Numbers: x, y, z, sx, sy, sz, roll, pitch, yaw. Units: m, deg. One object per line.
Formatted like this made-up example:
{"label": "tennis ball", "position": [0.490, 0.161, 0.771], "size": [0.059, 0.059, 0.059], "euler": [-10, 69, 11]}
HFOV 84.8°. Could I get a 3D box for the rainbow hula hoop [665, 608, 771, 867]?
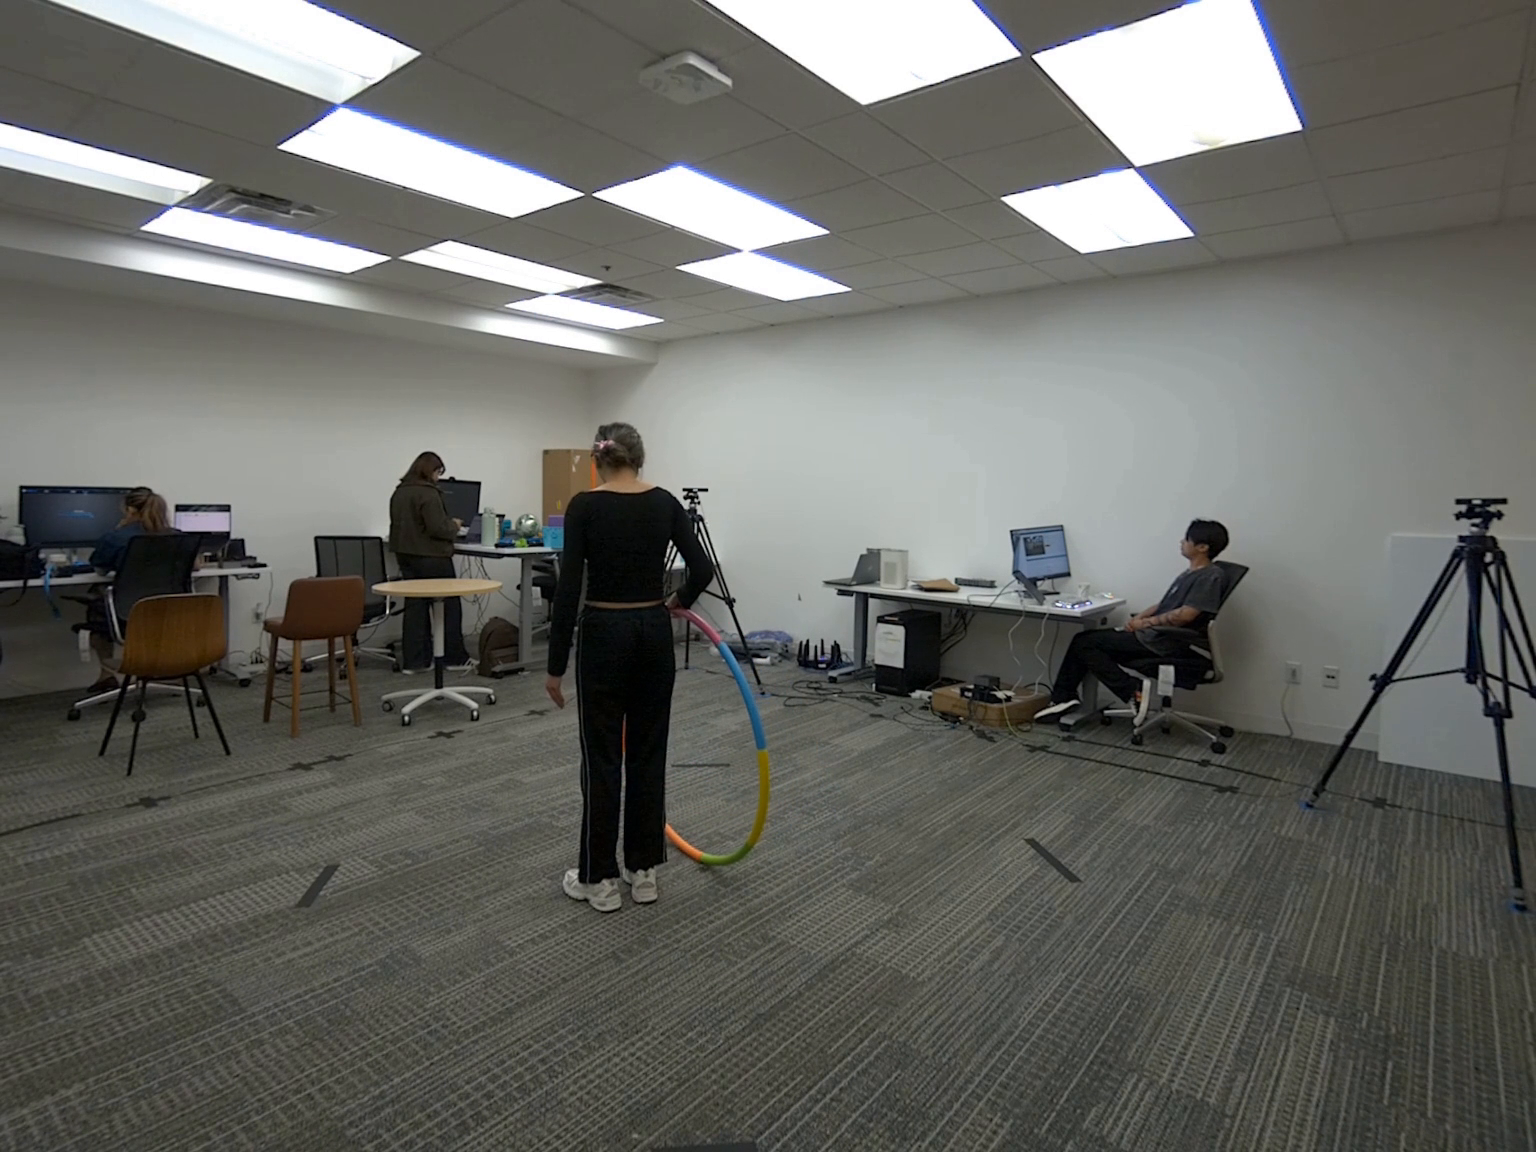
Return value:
{"label": "rainbow hula hoop", "position": [-0.326, 0.579, 3.161], "size": [0.034, 0.971, 1.011], "euler": [-9, 9, -37]}
